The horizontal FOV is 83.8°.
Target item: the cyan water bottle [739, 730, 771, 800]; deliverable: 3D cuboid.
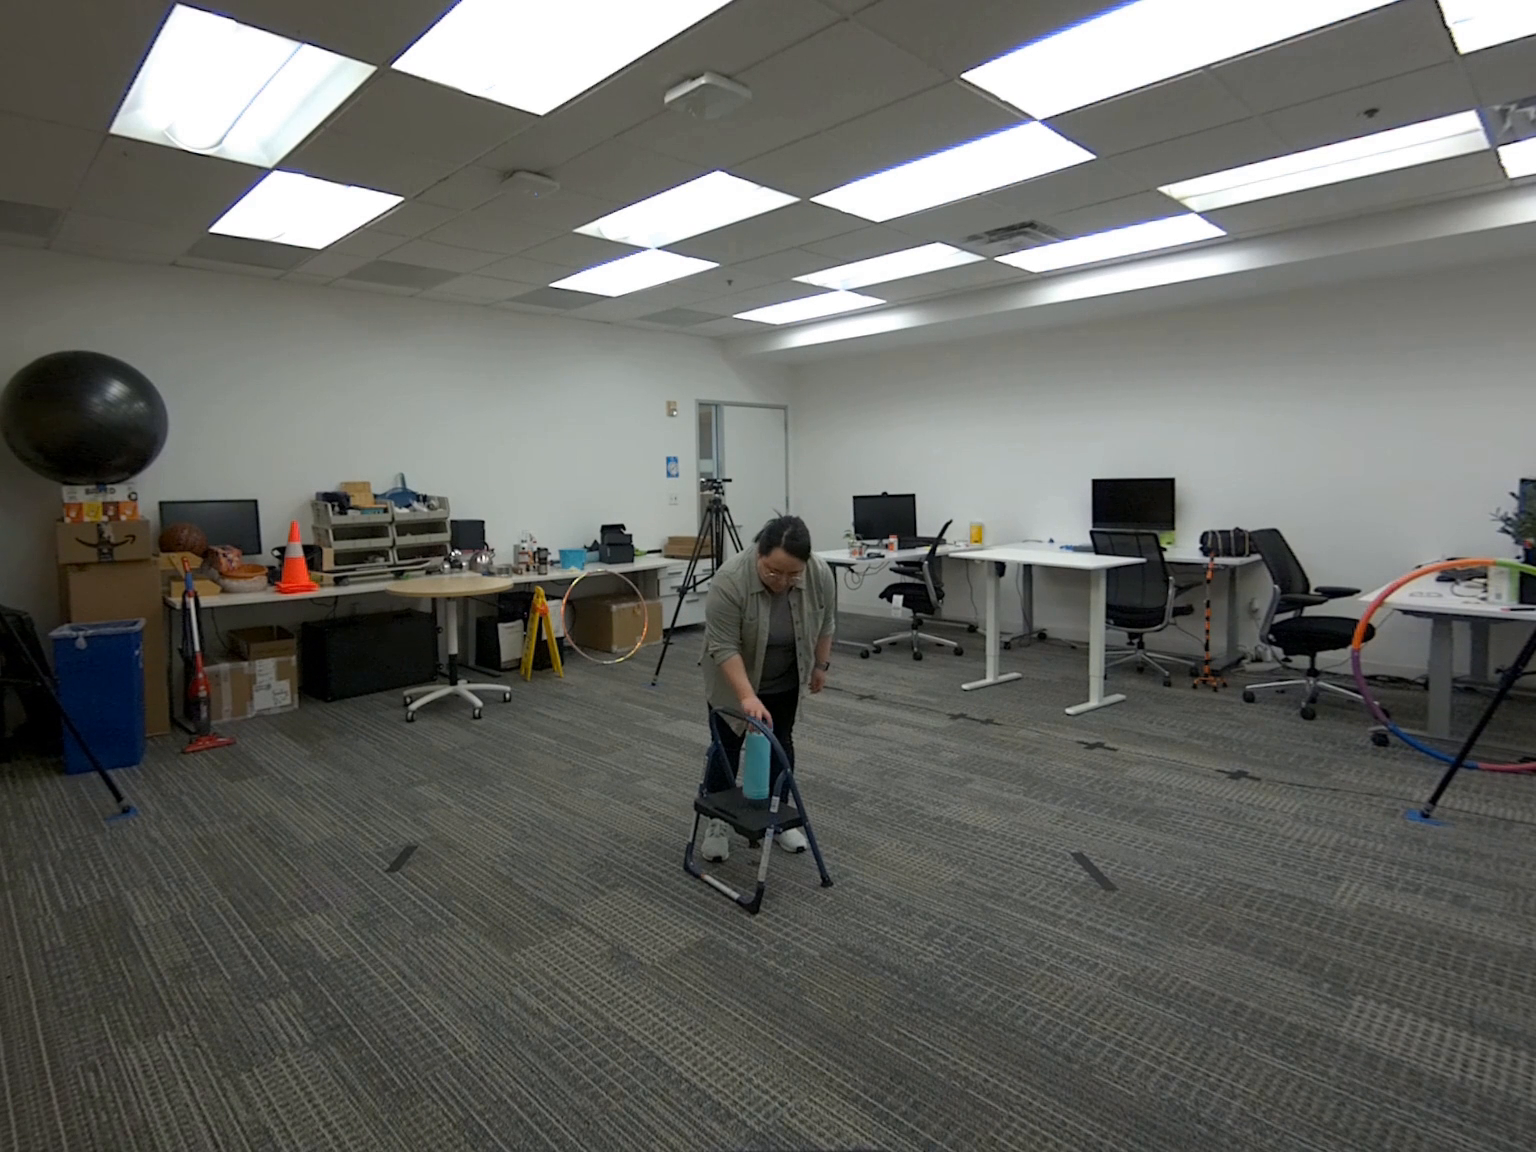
[{"bbox_3d":[-0.028,0.621,2.976,0.092,0.284,0.092,0,-2,-2],"label":"cyan water bottle"}]
